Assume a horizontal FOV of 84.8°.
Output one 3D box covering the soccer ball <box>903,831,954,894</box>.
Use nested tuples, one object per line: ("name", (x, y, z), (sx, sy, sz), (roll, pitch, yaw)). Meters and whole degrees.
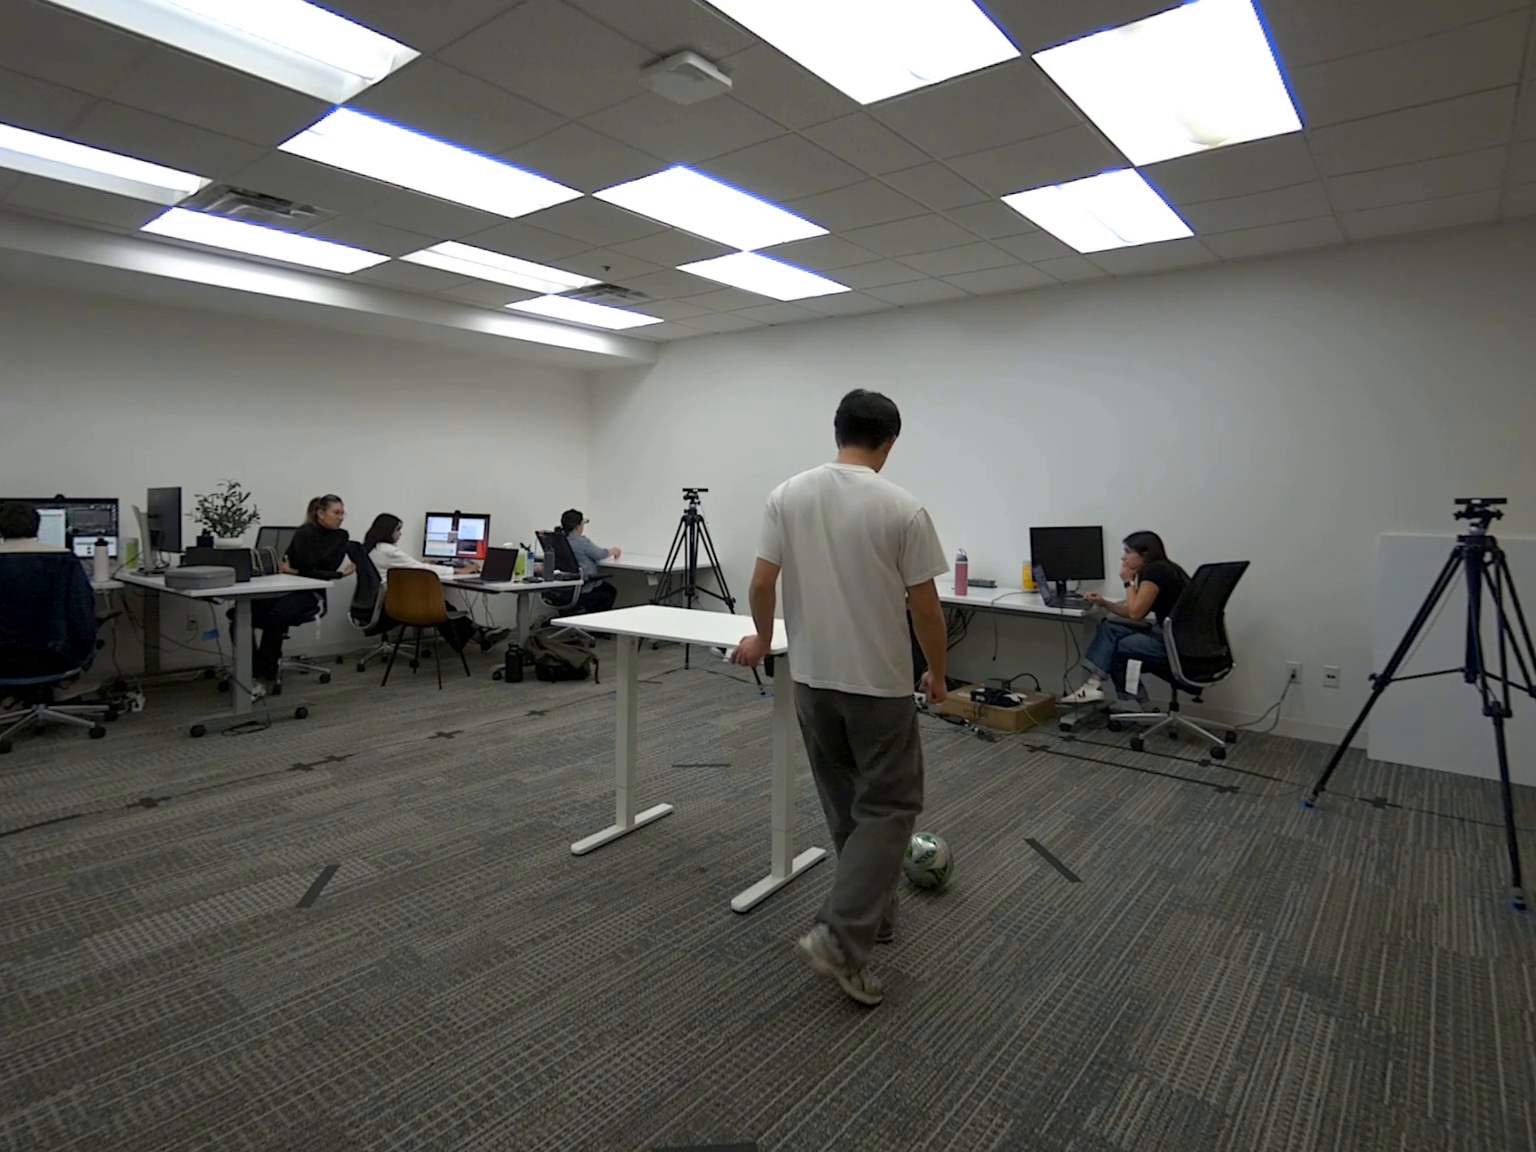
("soccer ball", (0.571, 1.004, 3.021), (0.187, 0.187, 0.188), (1, 4, -2))
